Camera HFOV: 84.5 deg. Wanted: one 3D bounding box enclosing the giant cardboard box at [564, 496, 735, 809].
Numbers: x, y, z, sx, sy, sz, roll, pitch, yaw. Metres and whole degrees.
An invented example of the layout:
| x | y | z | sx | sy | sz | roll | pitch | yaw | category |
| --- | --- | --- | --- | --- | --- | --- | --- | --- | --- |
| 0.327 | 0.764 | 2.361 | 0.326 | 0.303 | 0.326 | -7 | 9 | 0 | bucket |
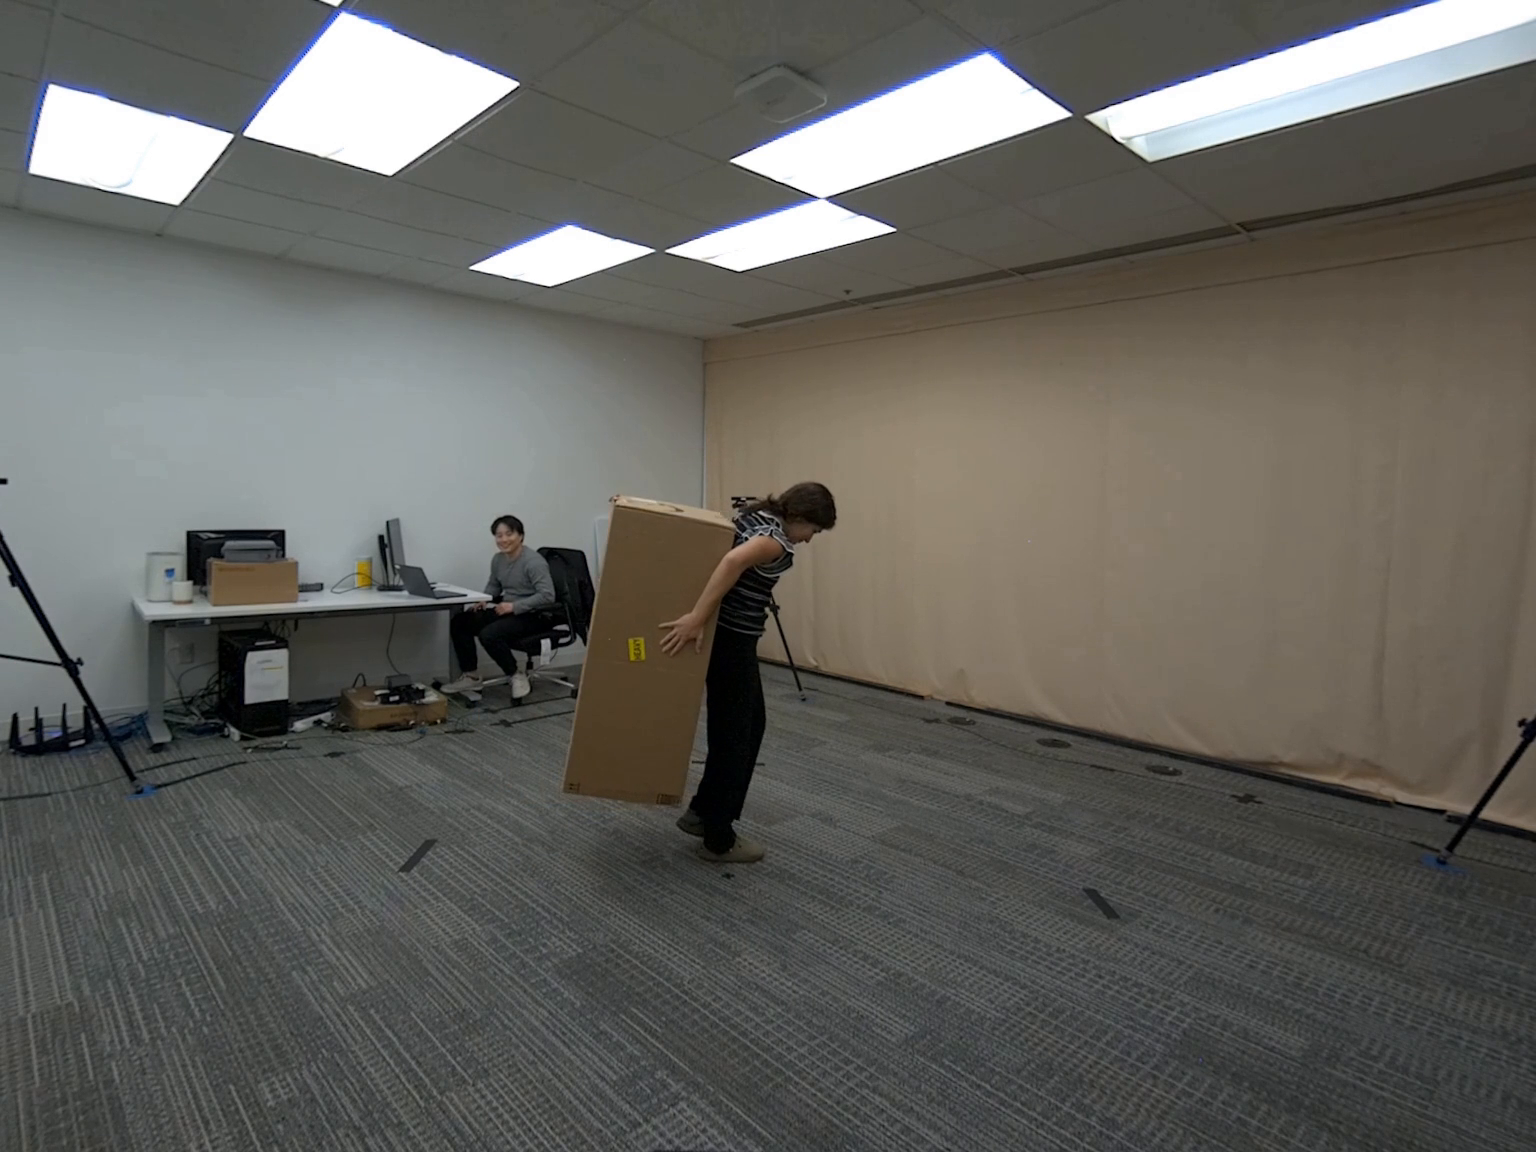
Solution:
| x | y | z | sx | sy | sz | roll | pitch | yaw | category |
| --- | --- | --- | --- | --- | --- | --- | --- | --- | --- |
| -0.462 | 0.251 | 3.169 | 0.423 | 1.022 | 0.583 | 11 | 6 | -9 | giant cardboard box |
